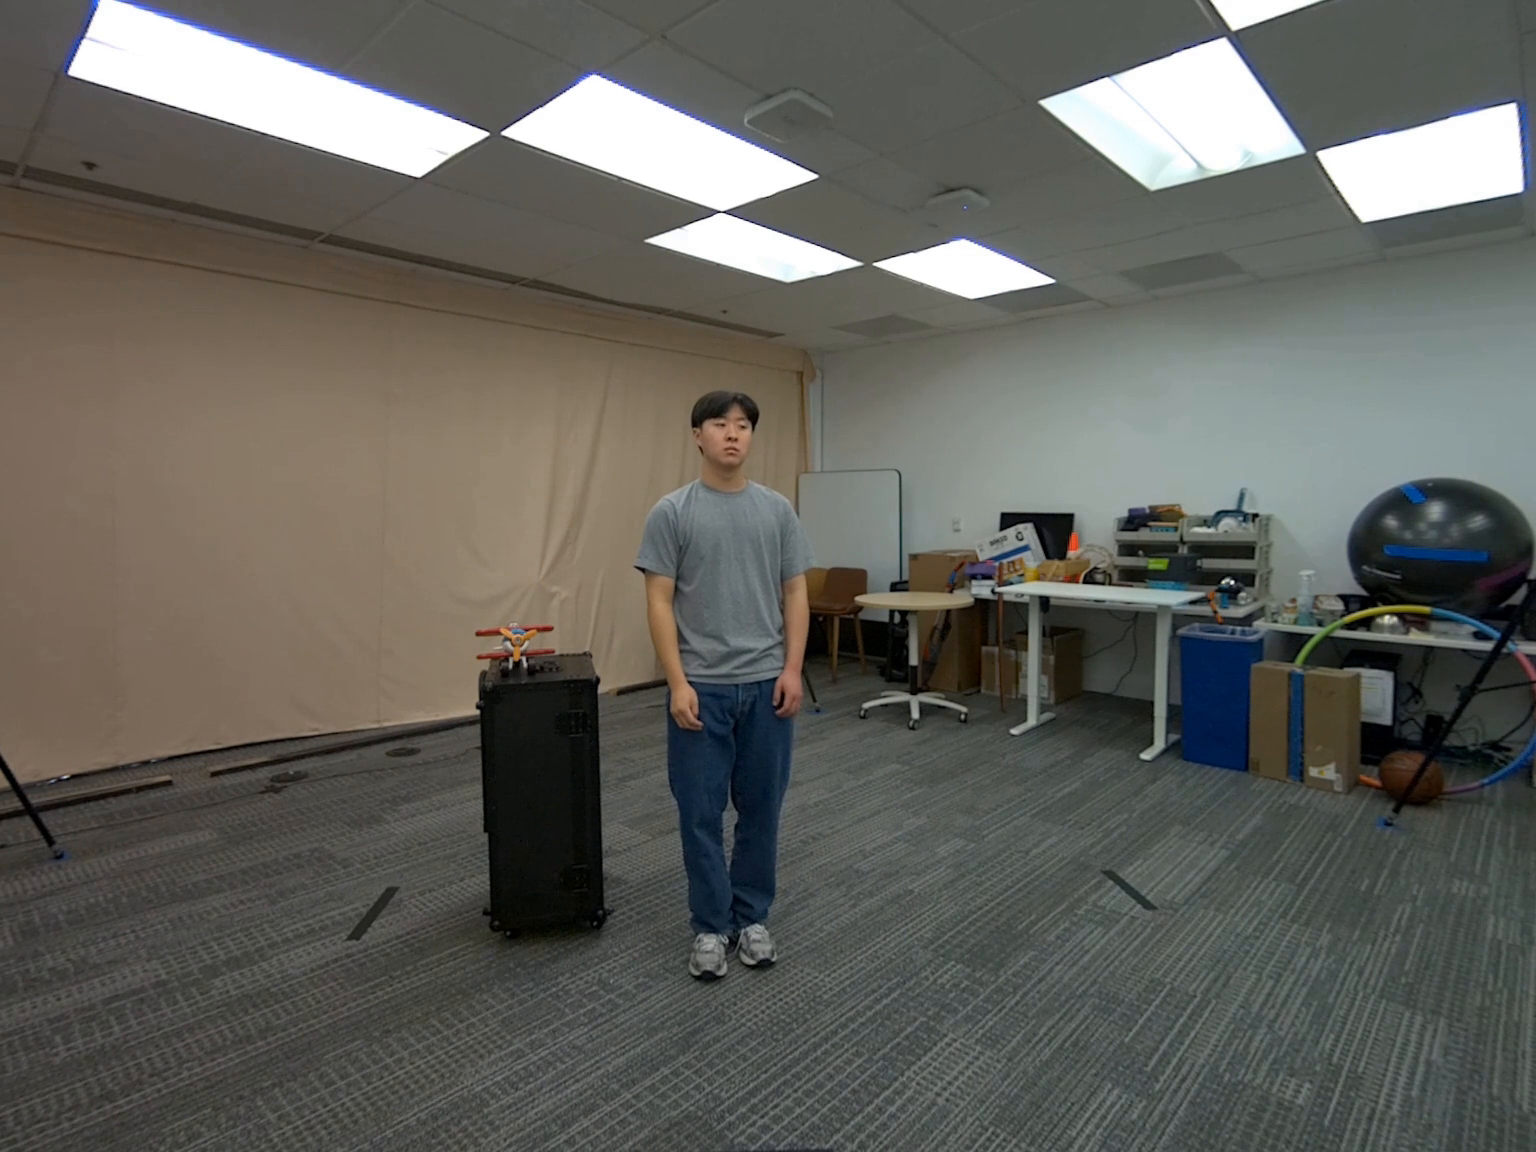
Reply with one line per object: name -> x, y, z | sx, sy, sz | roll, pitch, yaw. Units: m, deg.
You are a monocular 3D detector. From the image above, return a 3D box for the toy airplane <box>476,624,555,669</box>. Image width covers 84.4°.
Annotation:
toy airplane -> -0.867, 0.241, 2.823 | 0.268, 0.156, 0.243 | 3, 5, 41
